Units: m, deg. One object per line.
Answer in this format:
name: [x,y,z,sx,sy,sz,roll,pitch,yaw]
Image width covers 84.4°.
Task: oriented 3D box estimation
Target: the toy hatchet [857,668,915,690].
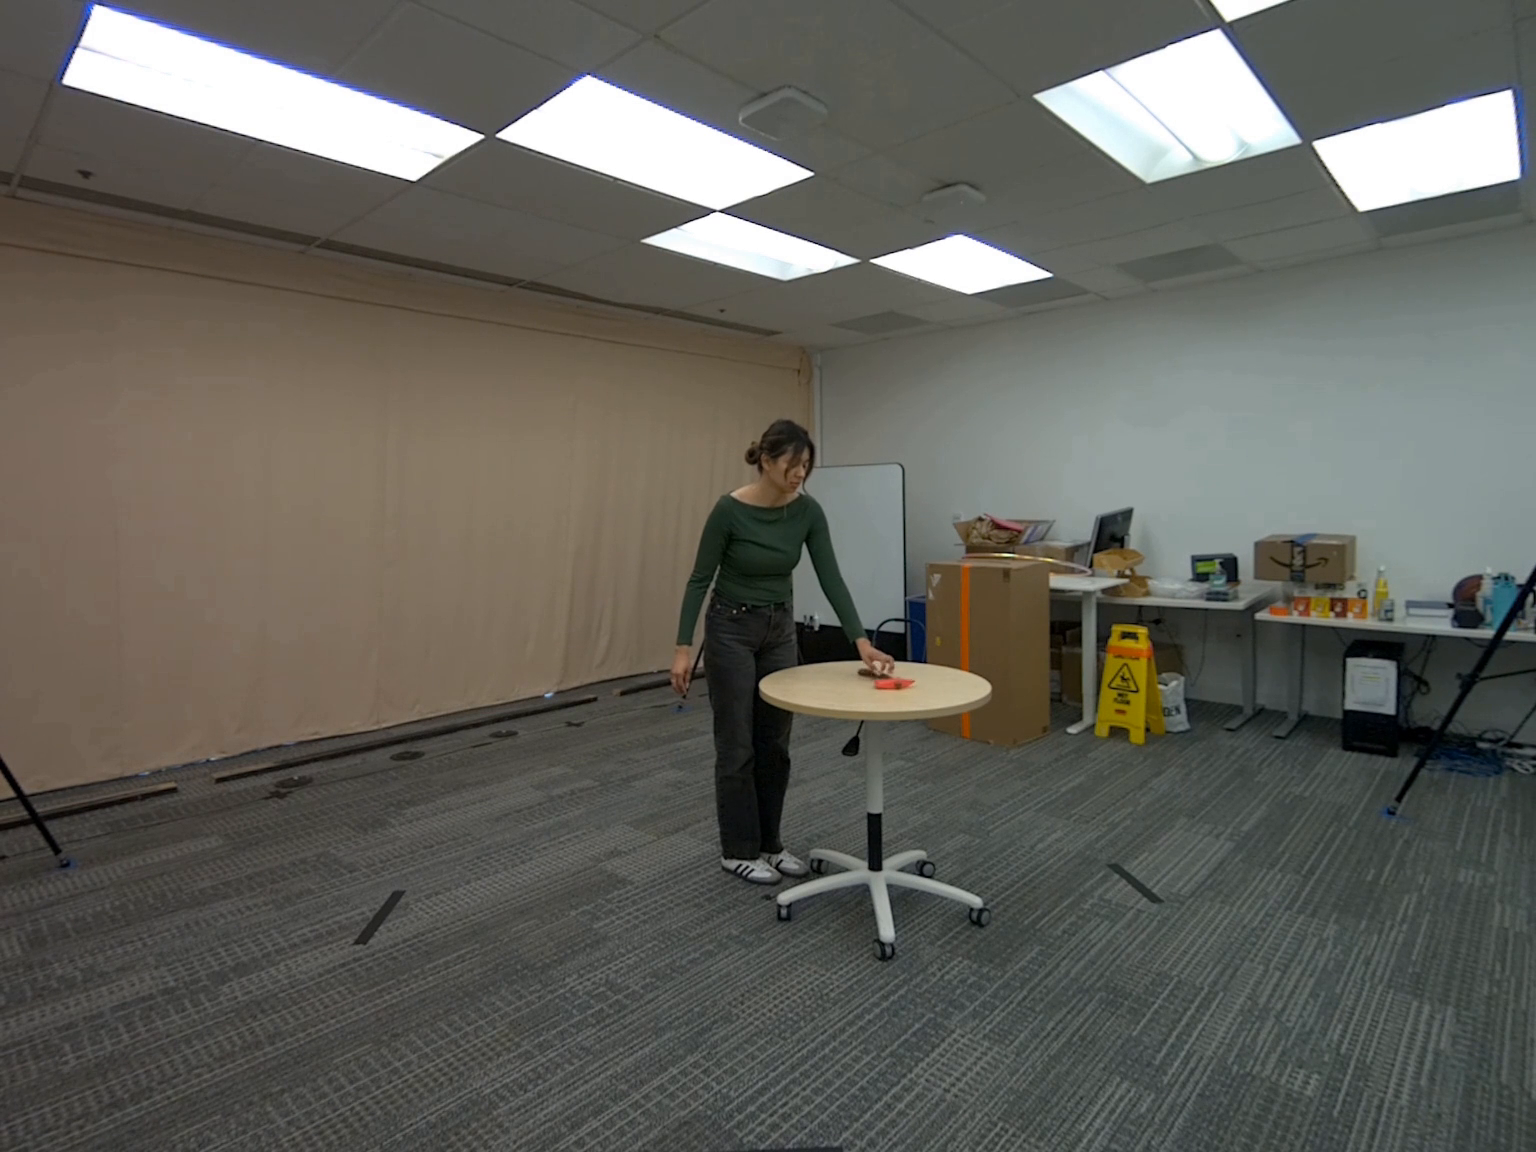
toy hatchet: [0.372,0.348,2.845,0.128,0.029,0.278,-9,7,-30]
